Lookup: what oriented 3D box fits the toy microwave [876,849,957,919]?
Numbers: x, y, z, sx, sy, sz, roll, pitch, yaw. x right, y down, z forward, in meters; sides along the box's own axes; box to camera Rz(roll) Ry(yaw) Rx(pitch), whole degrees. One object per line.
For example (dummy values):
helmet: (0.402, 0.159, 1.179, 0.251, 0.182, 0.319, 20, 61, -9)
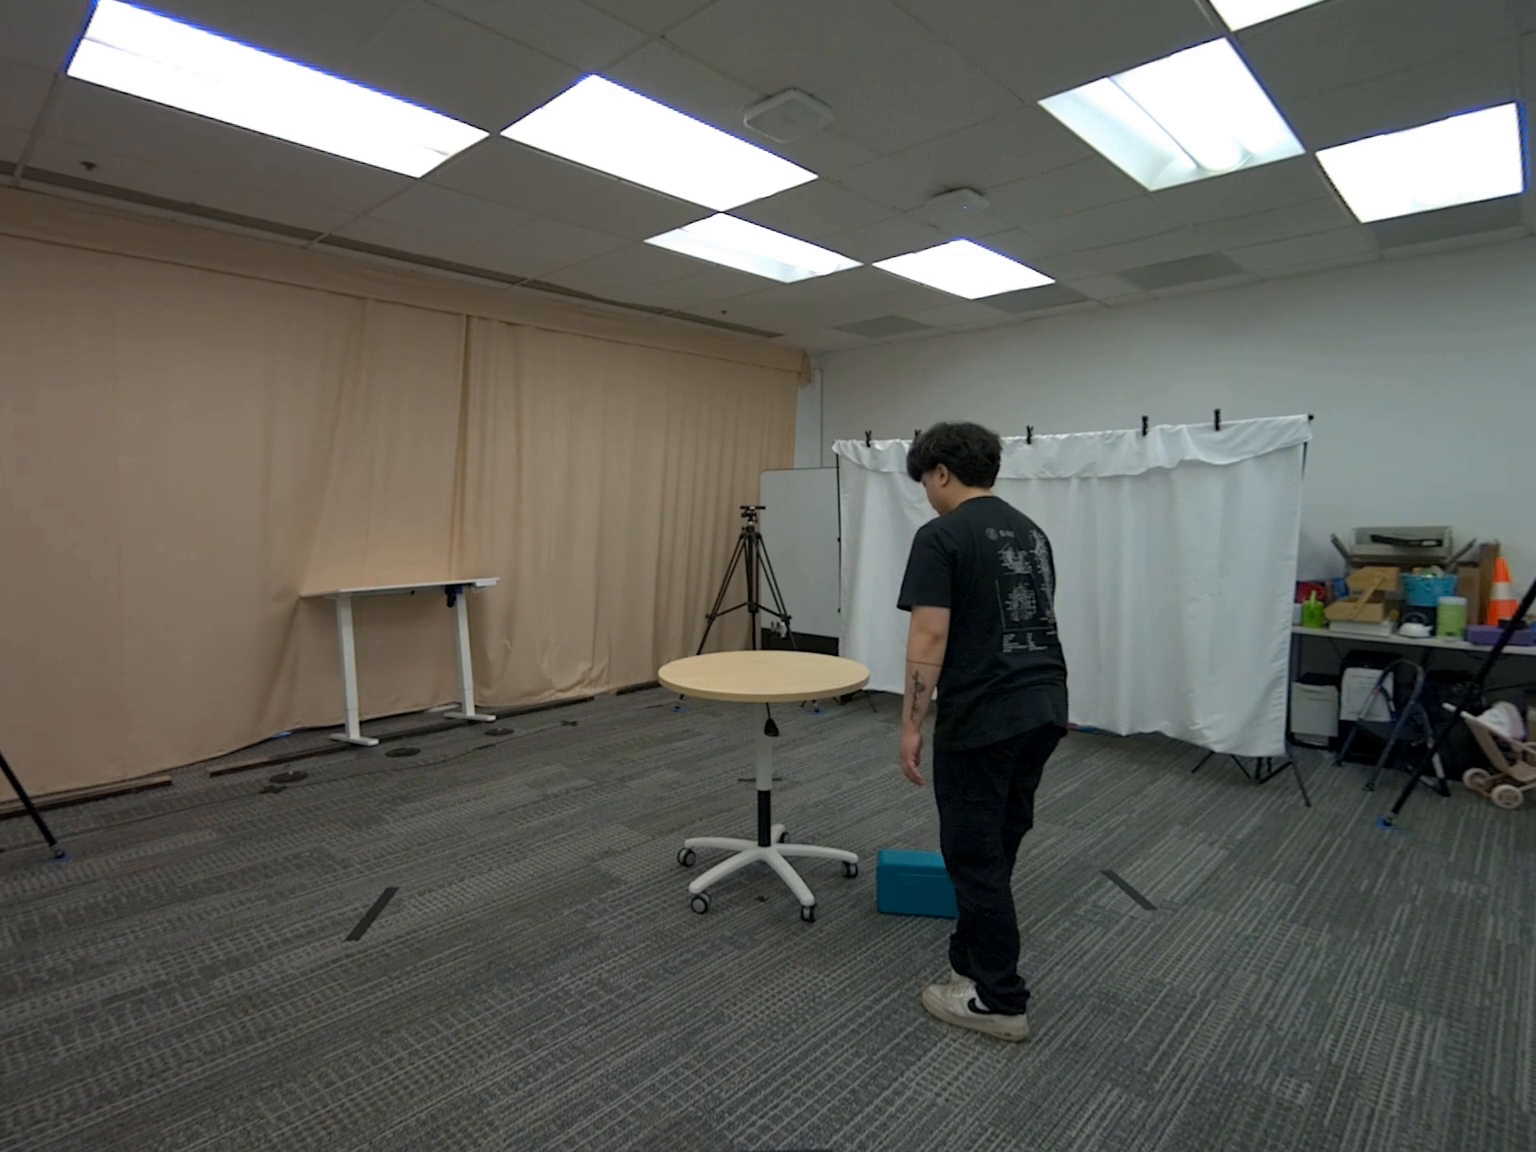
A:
toy microwave: (0.515, 1.052, 2.911, 0.289, 0.183, 0.151, 1, 5, 9)
